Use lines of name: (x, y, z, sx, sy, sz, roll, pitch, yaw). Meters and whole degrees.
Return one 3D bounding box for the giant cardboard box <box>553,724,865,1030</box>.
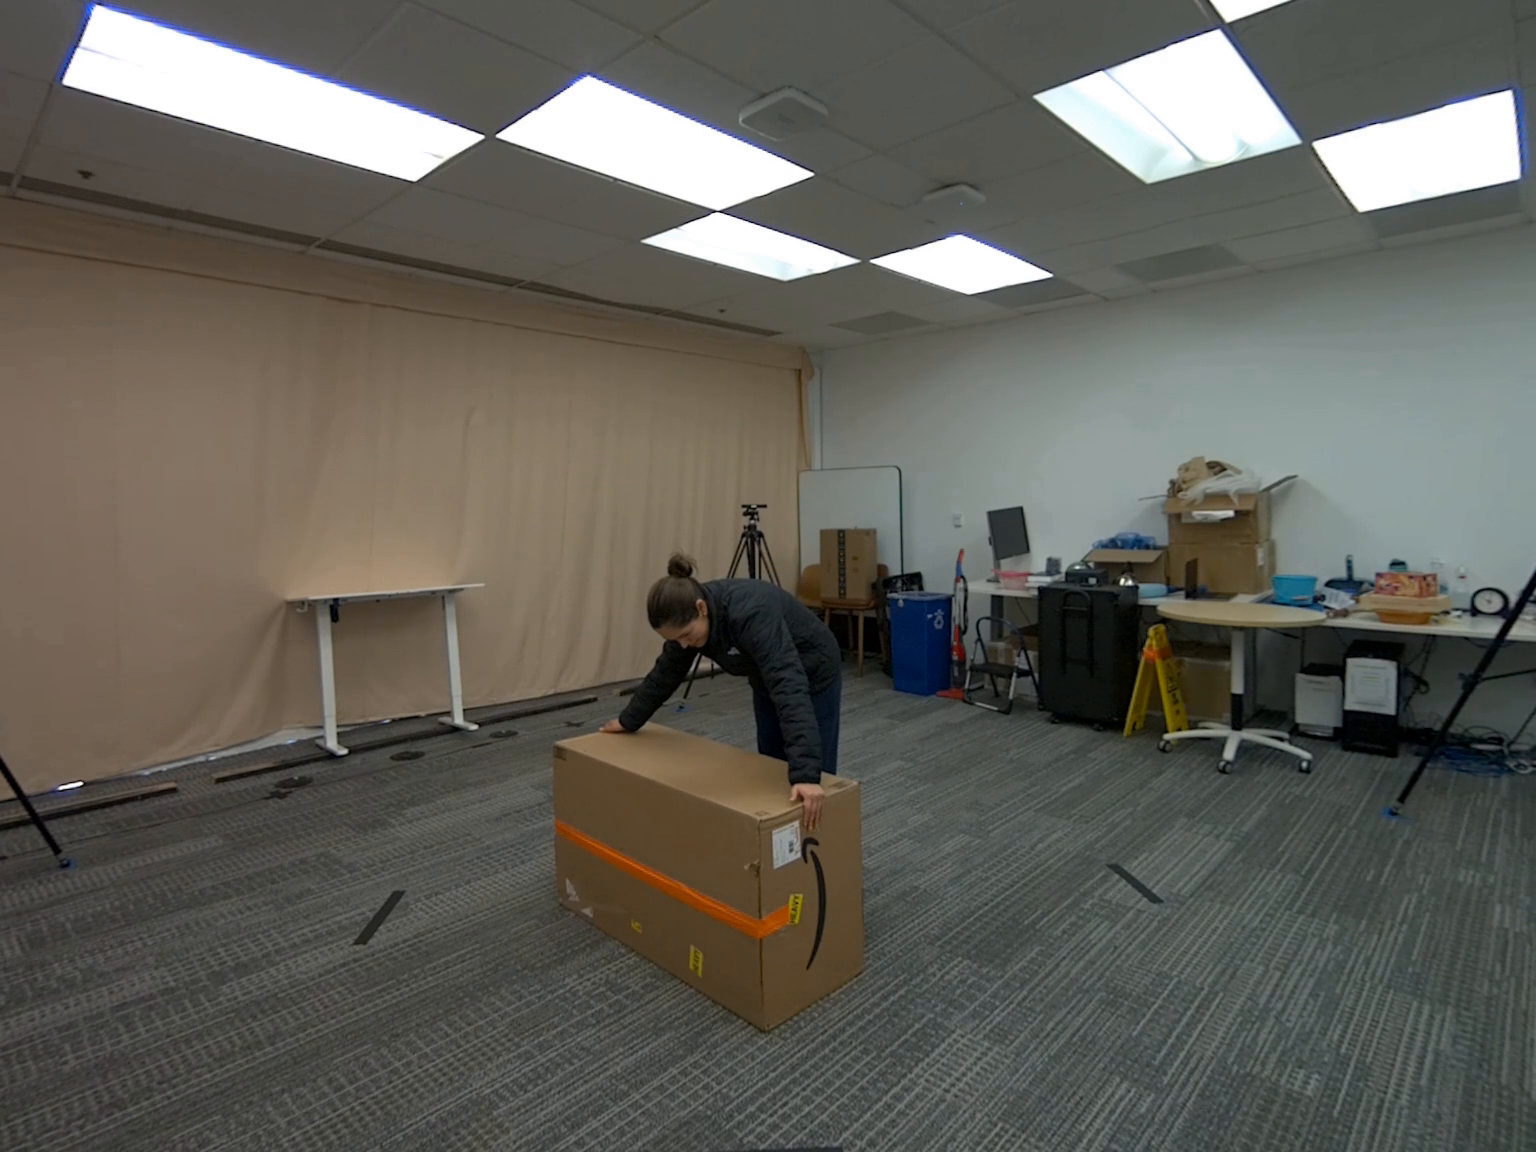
giant cardboard box: (-0.221, 0.879, 2.715, 0.433, 0.583, 1.061, -3, 4, -43)
